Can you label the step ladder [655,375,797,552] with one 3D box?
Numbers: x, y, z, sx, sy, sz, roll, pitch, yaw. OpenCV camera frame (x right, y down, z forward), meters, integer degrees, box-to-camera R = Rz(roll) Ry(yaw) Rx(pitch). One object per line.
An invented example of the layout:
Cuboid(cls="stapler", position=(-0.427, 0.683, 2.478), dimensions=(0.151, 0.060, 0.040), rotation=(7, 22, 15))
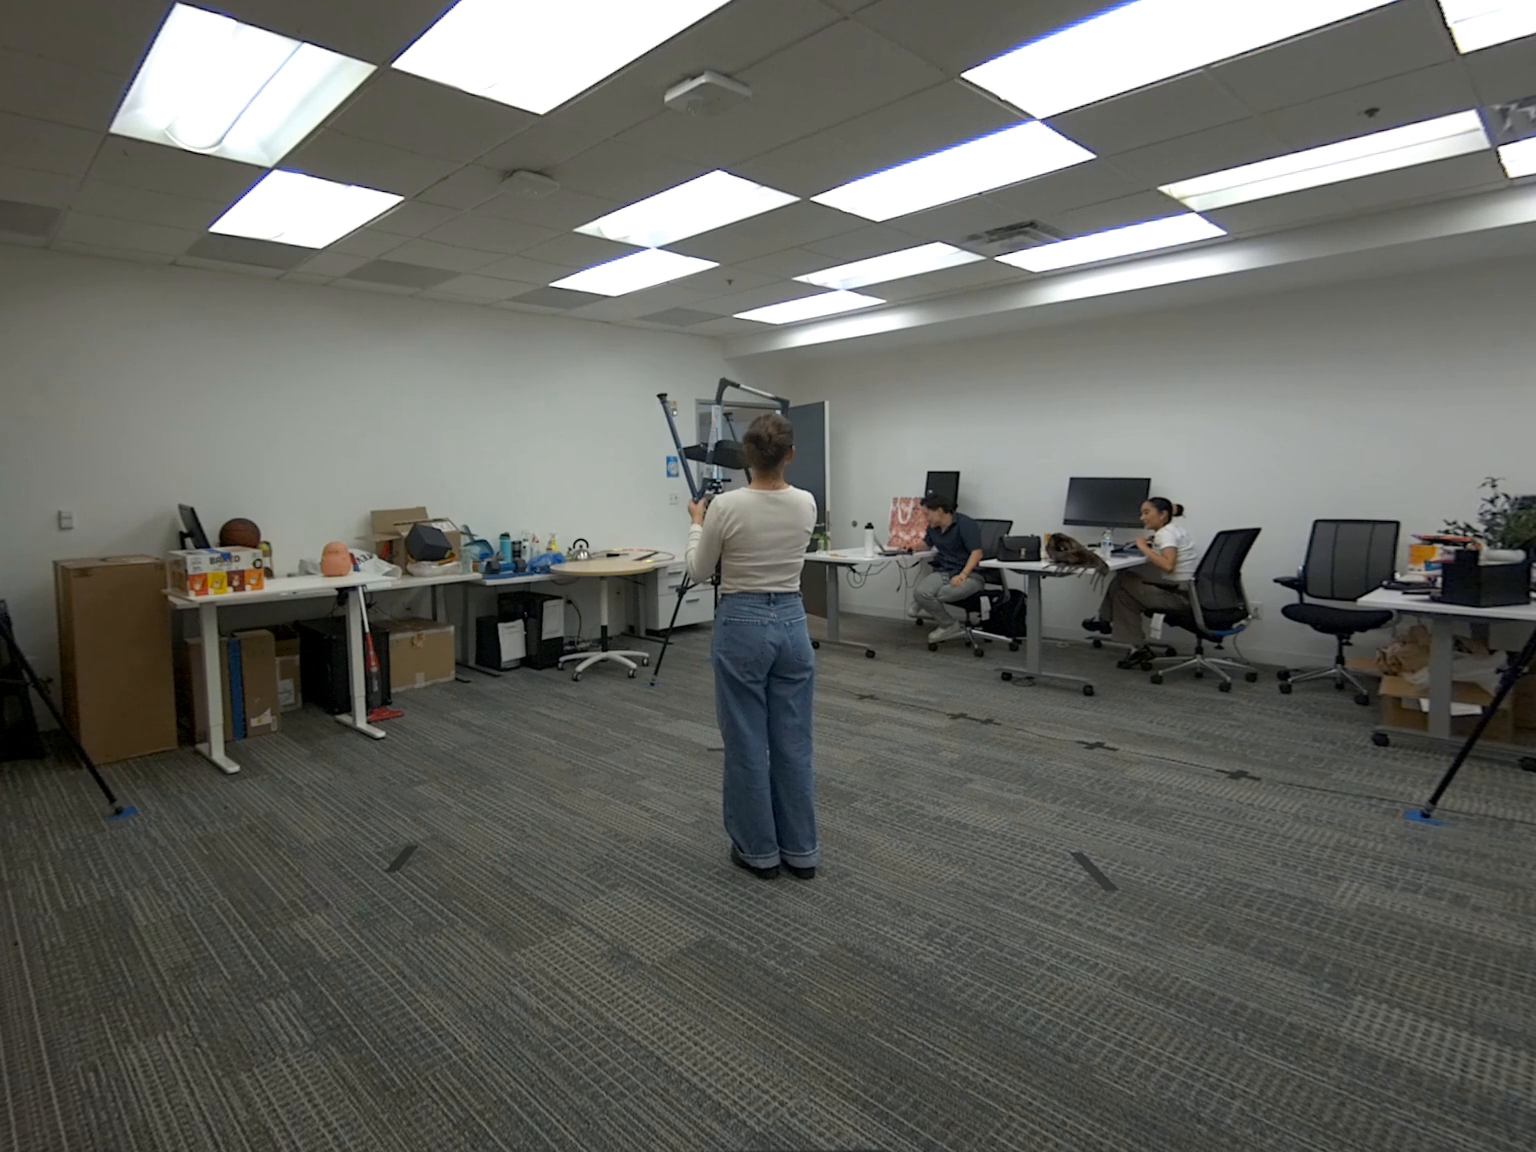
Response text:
Cuboid(cls="step ladder", position=(-0.161, -0.410, 3.362), dimensions=(0.358, 0.610, 0.417), rotation=(-7, -8, 39))
